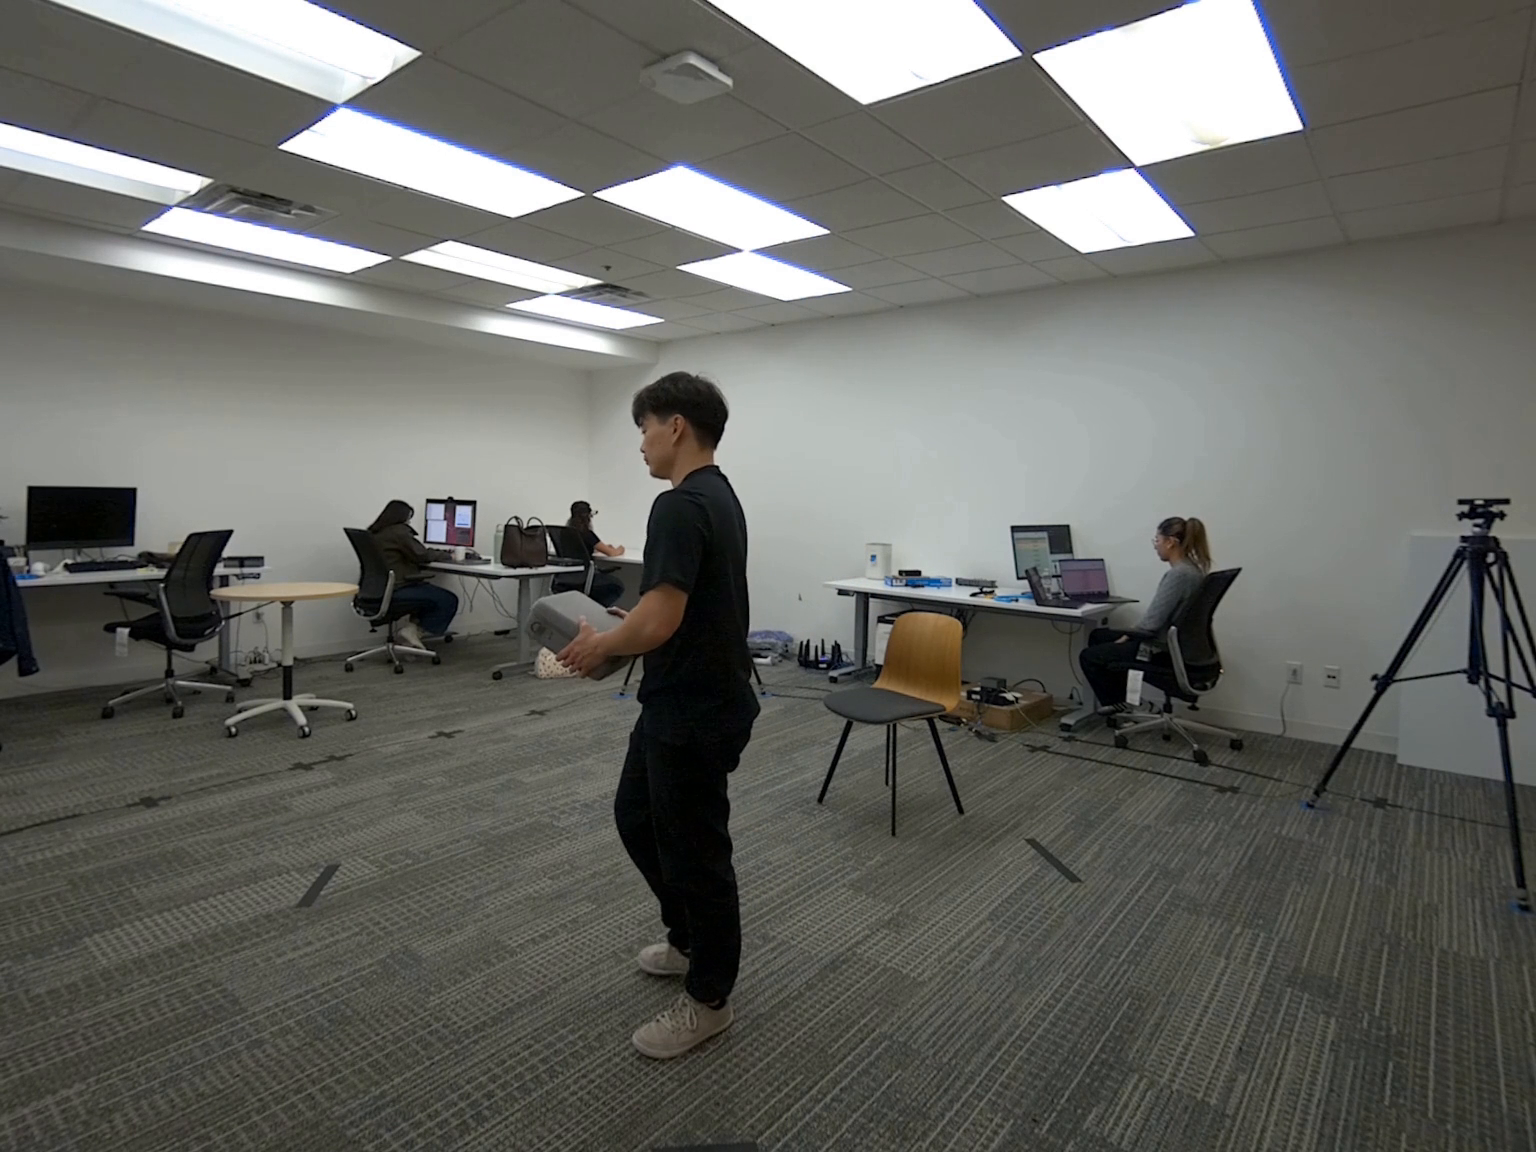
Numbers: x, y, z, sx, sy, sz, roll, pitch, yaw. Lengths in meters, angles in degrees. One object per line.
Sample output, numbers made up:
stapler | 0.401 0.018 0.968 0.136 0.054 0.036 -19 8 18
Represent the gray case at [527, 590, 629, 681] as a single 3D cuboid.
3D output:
gray case | -0.488 0.138 2.217 0.264 0.104 0.254 30 10 8
